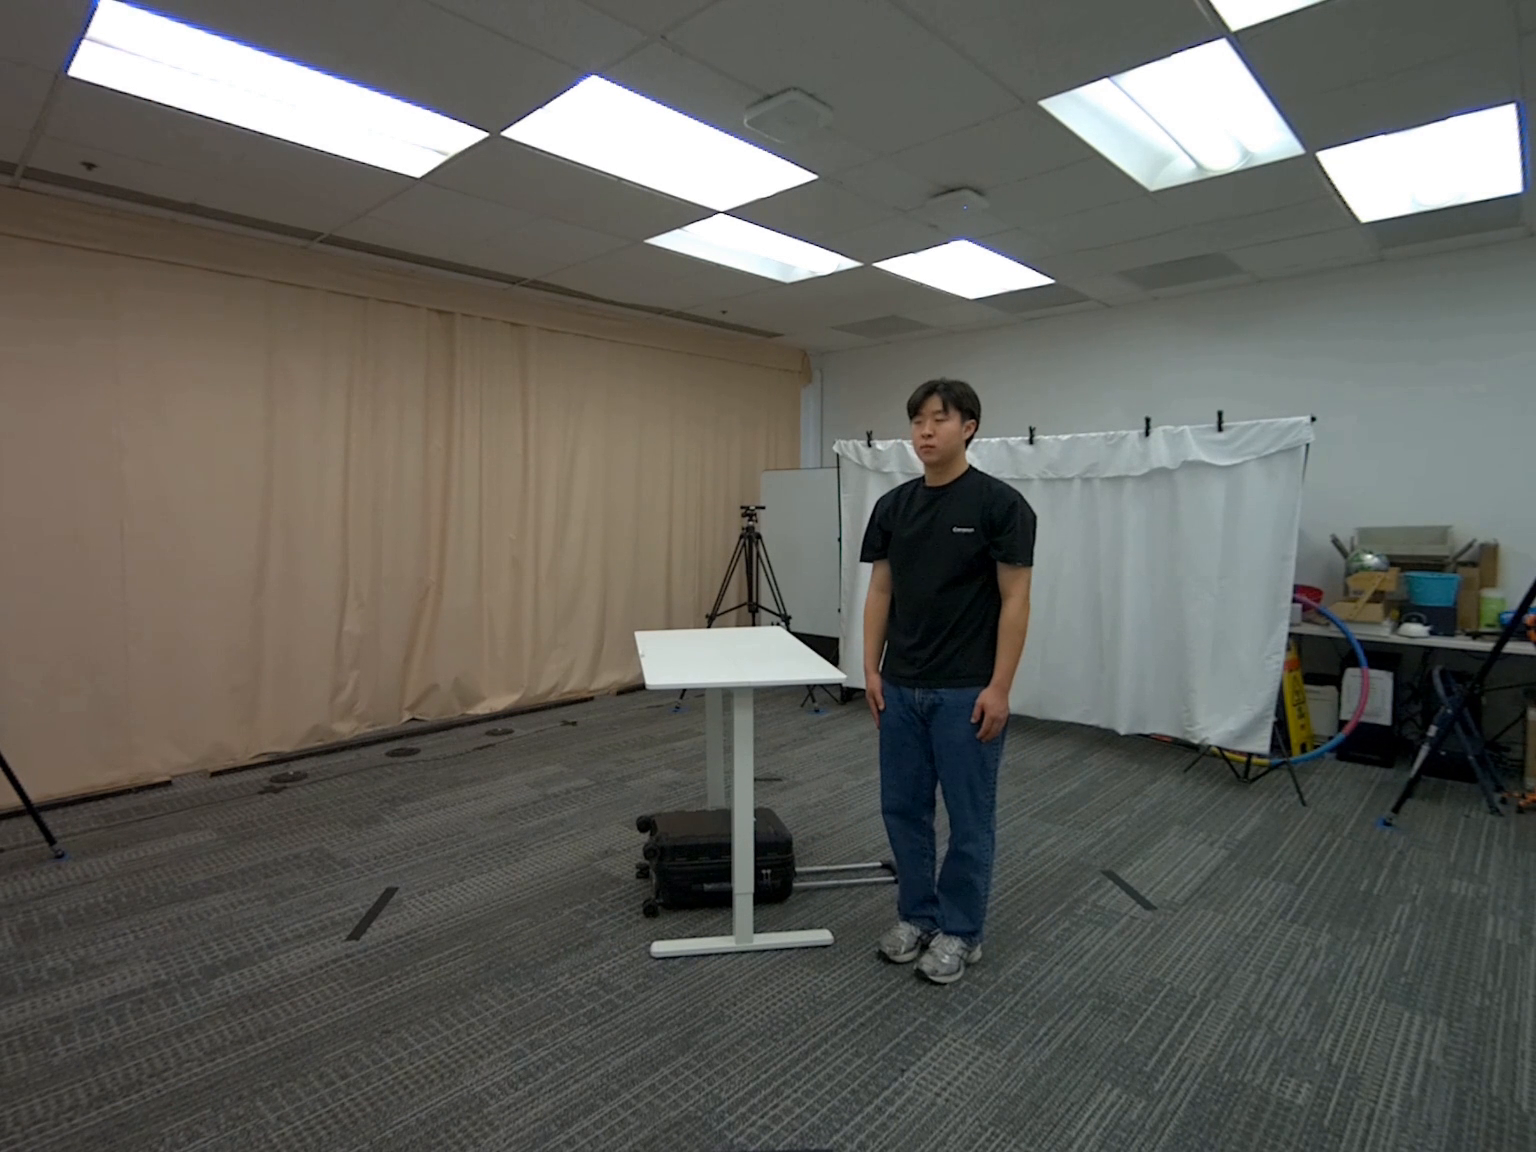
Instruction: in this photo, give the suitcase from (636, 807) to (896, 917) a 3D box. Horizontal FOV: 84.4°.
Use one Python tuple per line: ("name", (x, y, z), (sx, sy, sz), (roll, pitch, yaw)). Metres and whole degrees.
("suitcase", (0.018, 1.006, 3.082), (0.969, 0.257, 0.388), (-1, 3, -10))
